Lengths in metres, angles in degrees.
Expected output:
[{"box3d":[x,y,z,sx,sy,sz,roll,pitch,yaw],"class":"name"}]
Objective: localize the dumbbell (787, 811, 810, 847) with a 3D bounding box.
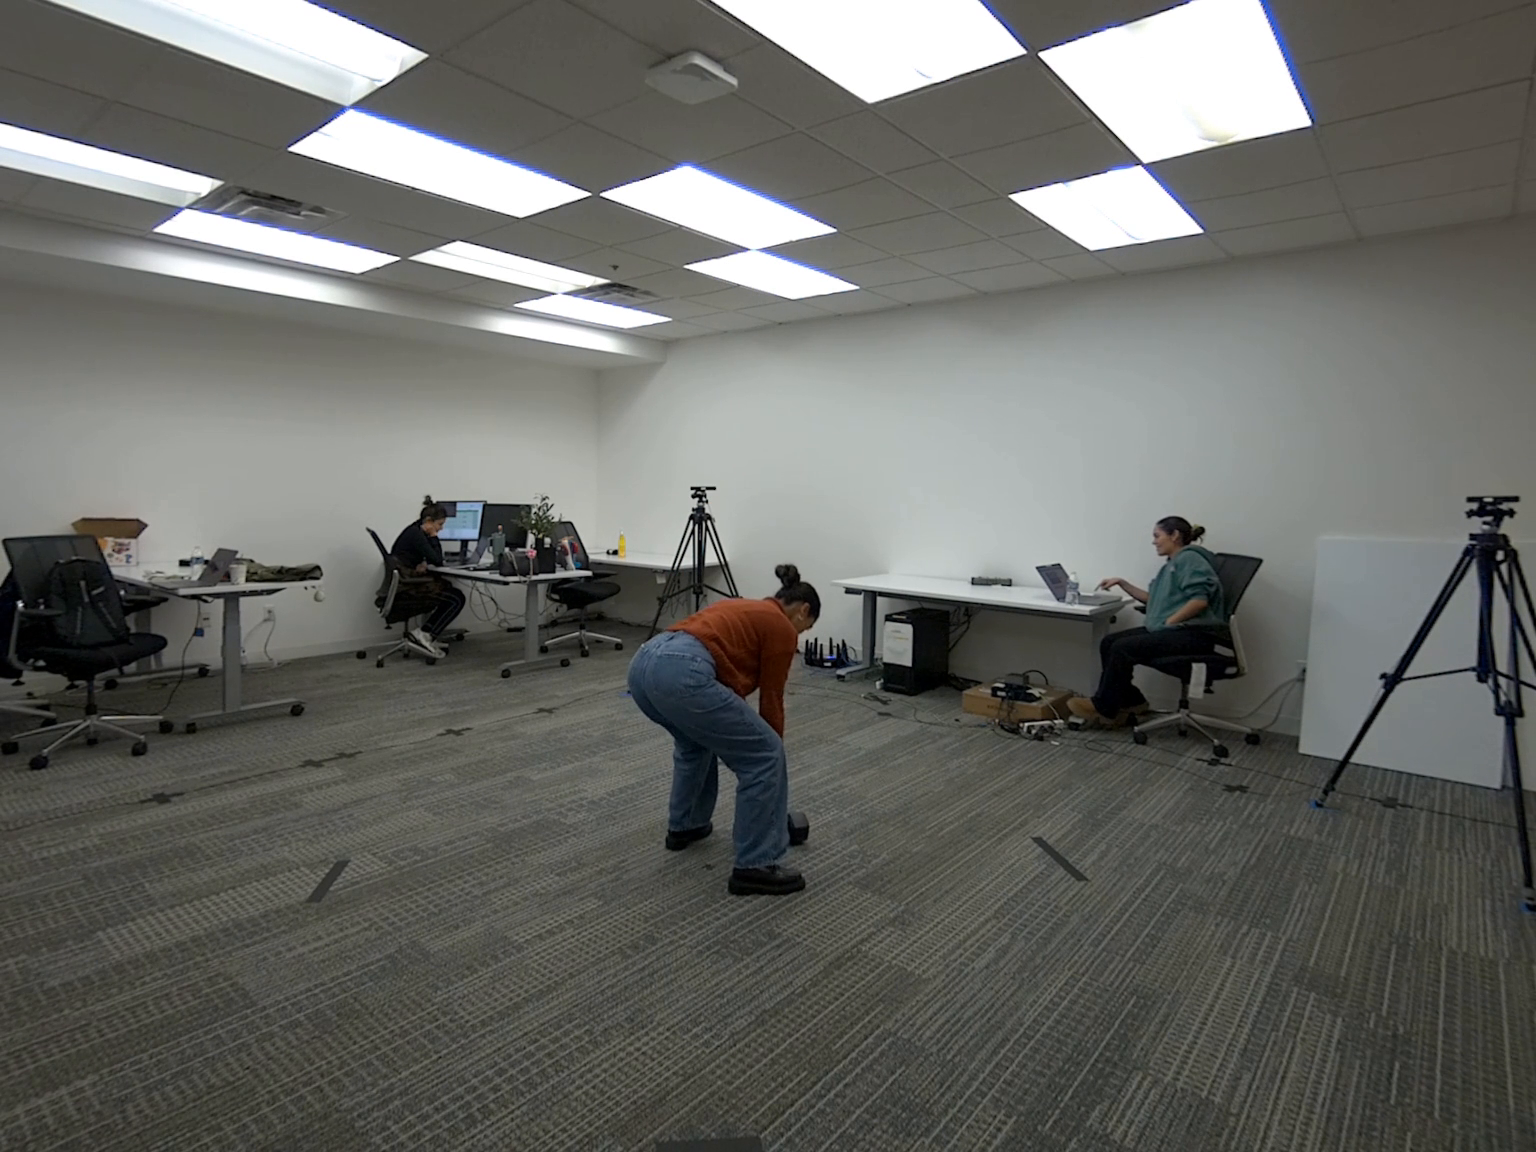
[{"box3d":[0.007,0.991,3.305,0.287,0.121,0.113,-2,17,-25],"class":"dumbbell"}]
